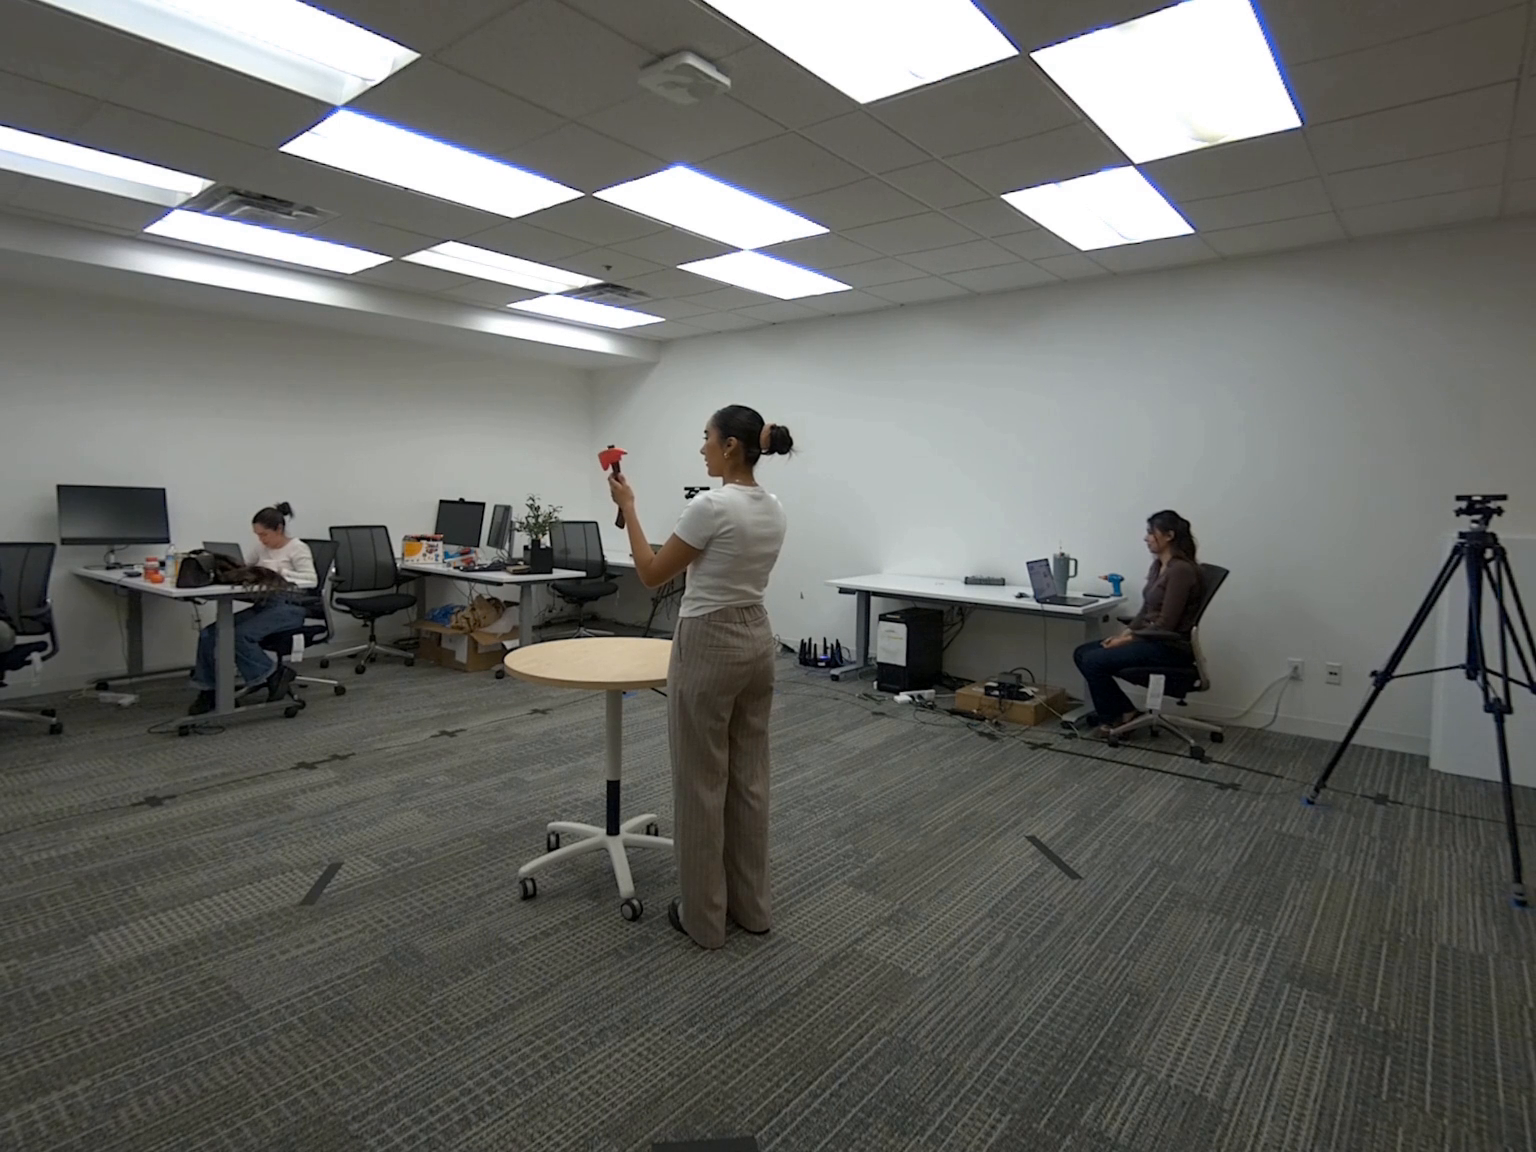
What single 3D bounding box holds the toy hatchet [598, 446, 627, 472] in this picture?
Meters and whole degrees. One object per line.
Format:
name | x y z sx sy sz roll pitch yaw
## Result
toy hatchet | -0.516 -0.295 2.740 0.135 0.265 0.029 19 27 29
